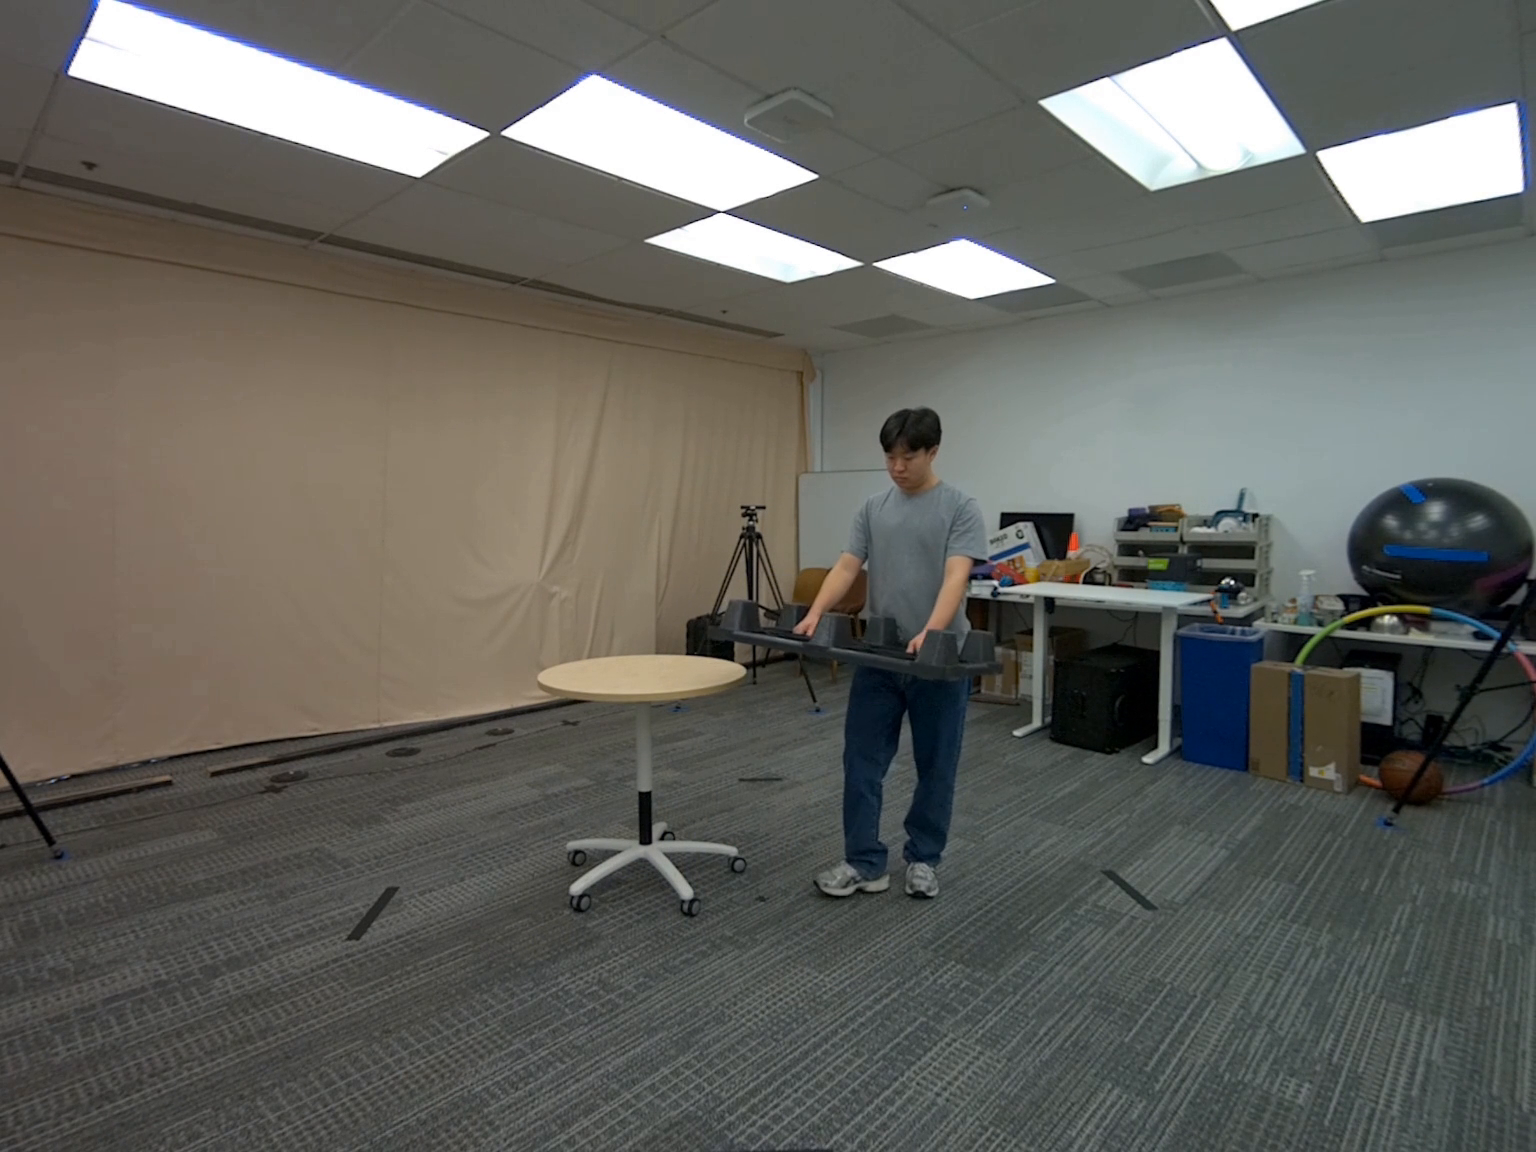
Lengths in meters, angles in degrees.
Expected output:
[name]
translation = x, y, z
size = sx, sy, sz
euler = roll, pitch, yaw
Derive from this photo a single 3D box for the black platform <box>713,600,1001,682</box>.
[black platform]
translation = 0.296, 0.203, 2.763
size = 0.831, 0.143, 0.586
euler = 7, 1, 33
